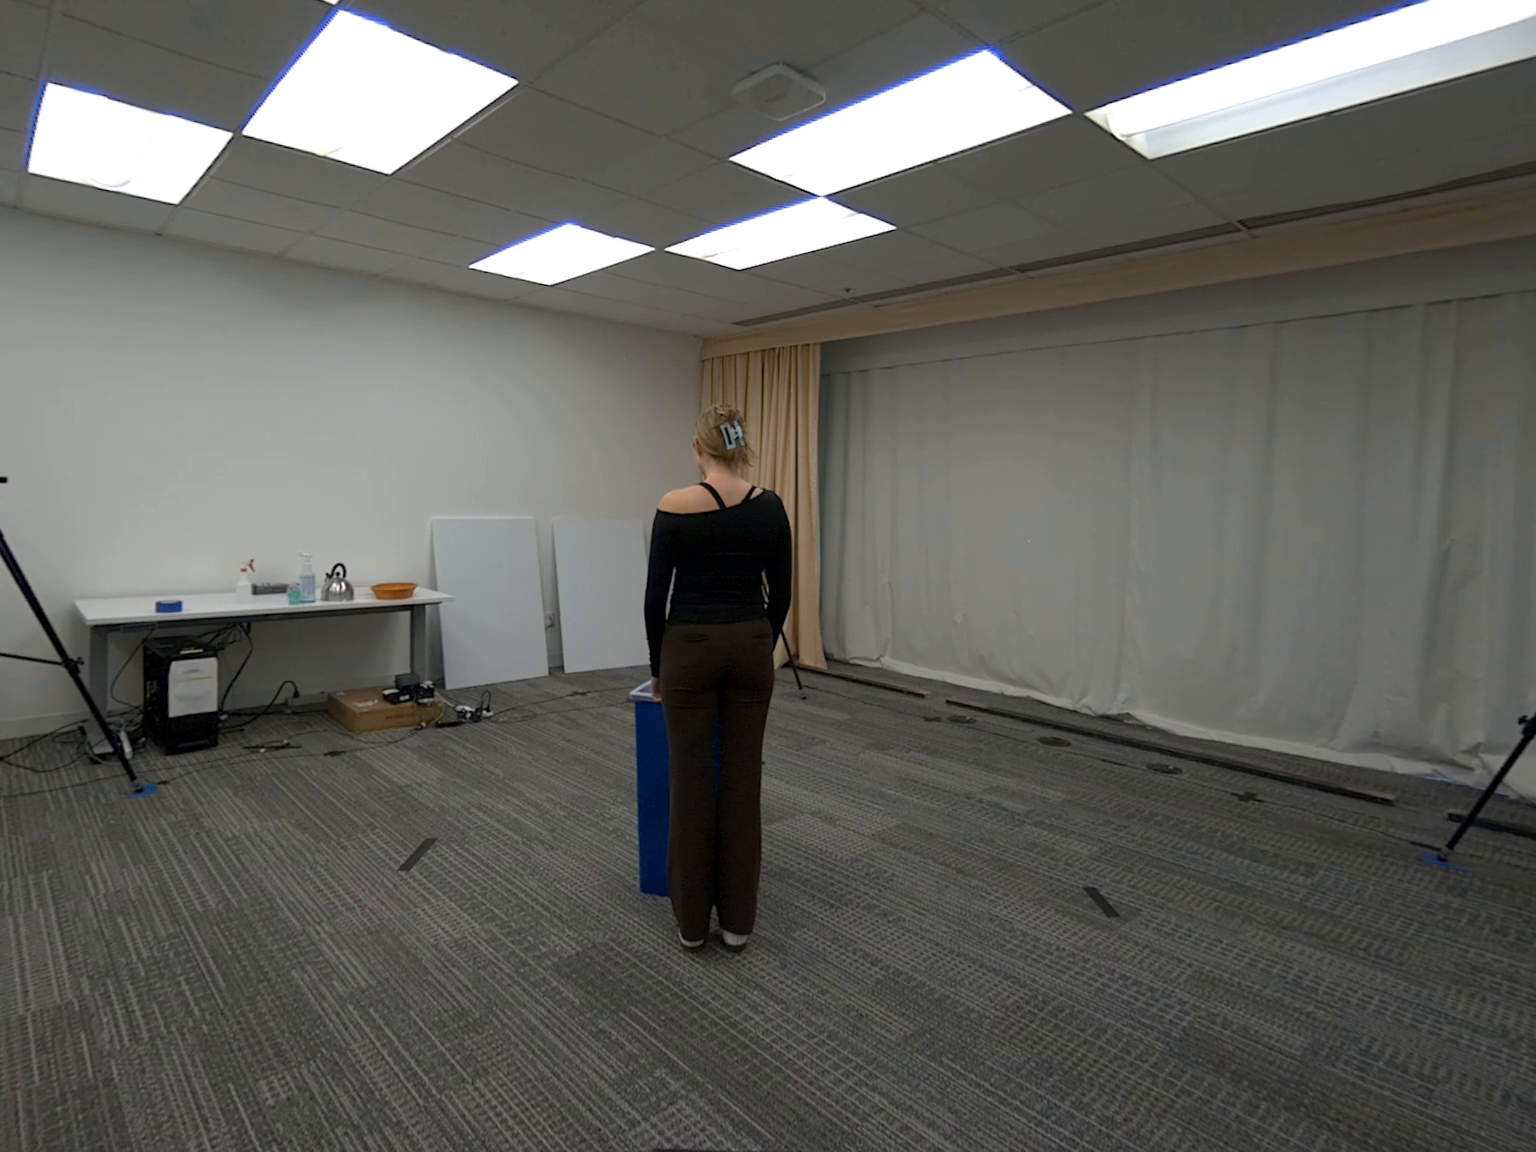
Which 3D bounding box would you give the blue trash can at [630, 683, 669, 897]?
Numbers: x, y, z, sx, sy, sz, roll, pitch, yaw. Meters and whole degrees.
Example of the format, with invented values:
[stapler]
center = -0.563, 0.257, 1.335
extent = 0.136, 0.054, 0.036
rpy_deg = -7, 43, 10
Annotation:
[blue trash can]
center = -0.277, 0.750, 3.027
extent = 0.379, 0.712, 0.374
rpy_deg = 2, 3, 15
